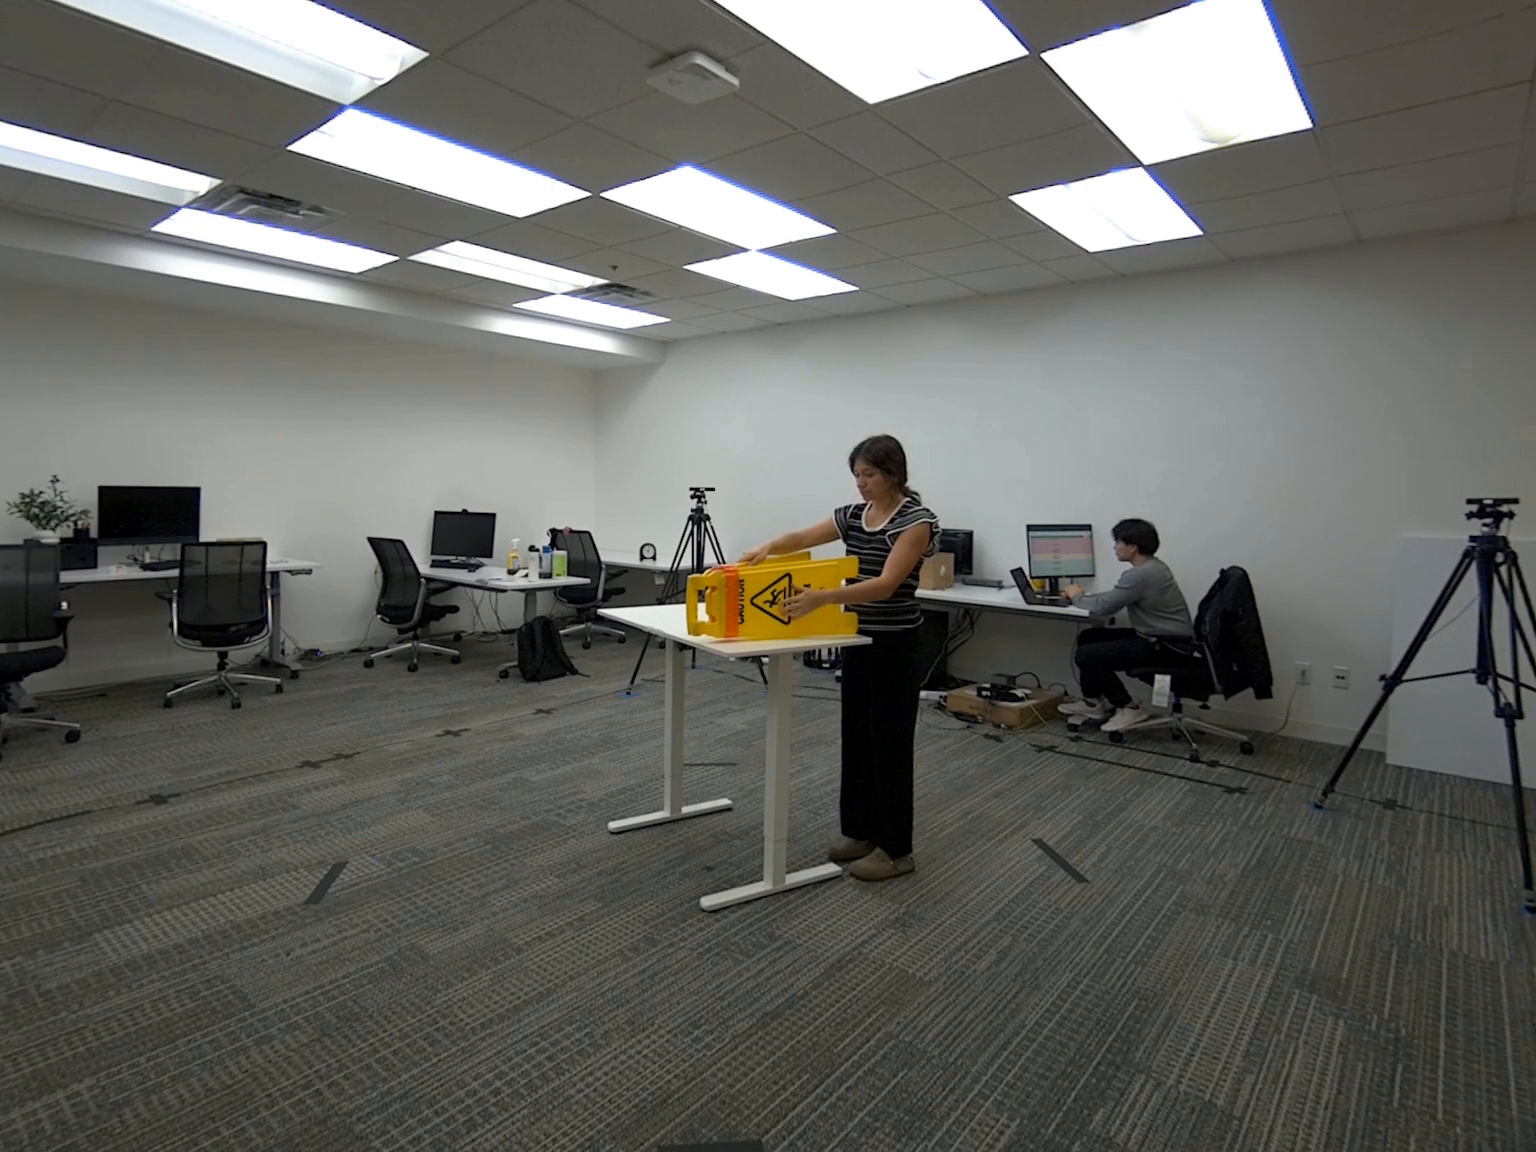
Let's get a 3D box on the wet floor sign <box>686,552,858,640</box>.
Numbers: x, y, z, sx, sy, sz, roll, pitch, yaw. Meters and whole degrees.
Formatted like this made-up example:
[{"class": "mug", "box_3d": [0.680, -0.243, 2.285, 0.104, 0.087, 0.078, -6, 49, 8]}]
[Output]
[{"class": "wet floor sign", "box_3d": [-0.018, 0.073, 2.933, 0.627, 0.281, 0.300, -4, 7, -38]}]
